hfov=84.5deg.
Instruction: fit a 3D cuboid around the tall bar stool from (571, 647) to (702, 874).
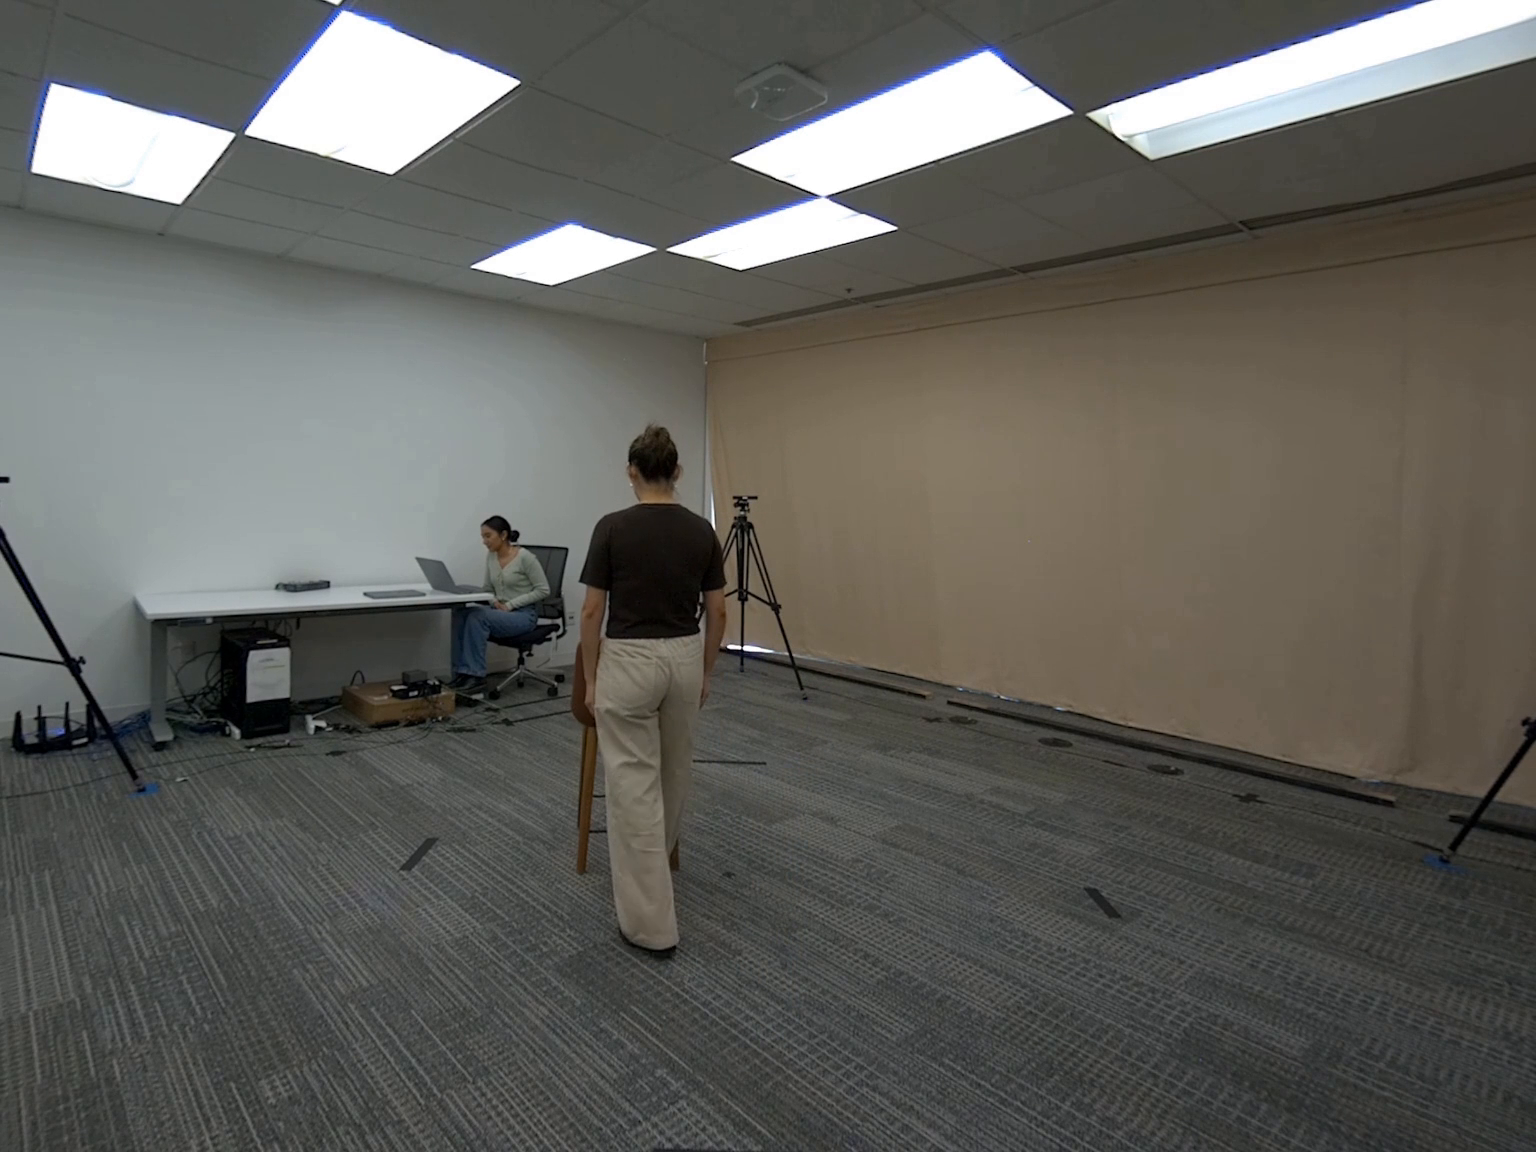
[{"bbox_3d":[-0.548,0.642,3.296,0.453,0.886,0.473,1,5,-10],"label":"tall bar stool"}]
